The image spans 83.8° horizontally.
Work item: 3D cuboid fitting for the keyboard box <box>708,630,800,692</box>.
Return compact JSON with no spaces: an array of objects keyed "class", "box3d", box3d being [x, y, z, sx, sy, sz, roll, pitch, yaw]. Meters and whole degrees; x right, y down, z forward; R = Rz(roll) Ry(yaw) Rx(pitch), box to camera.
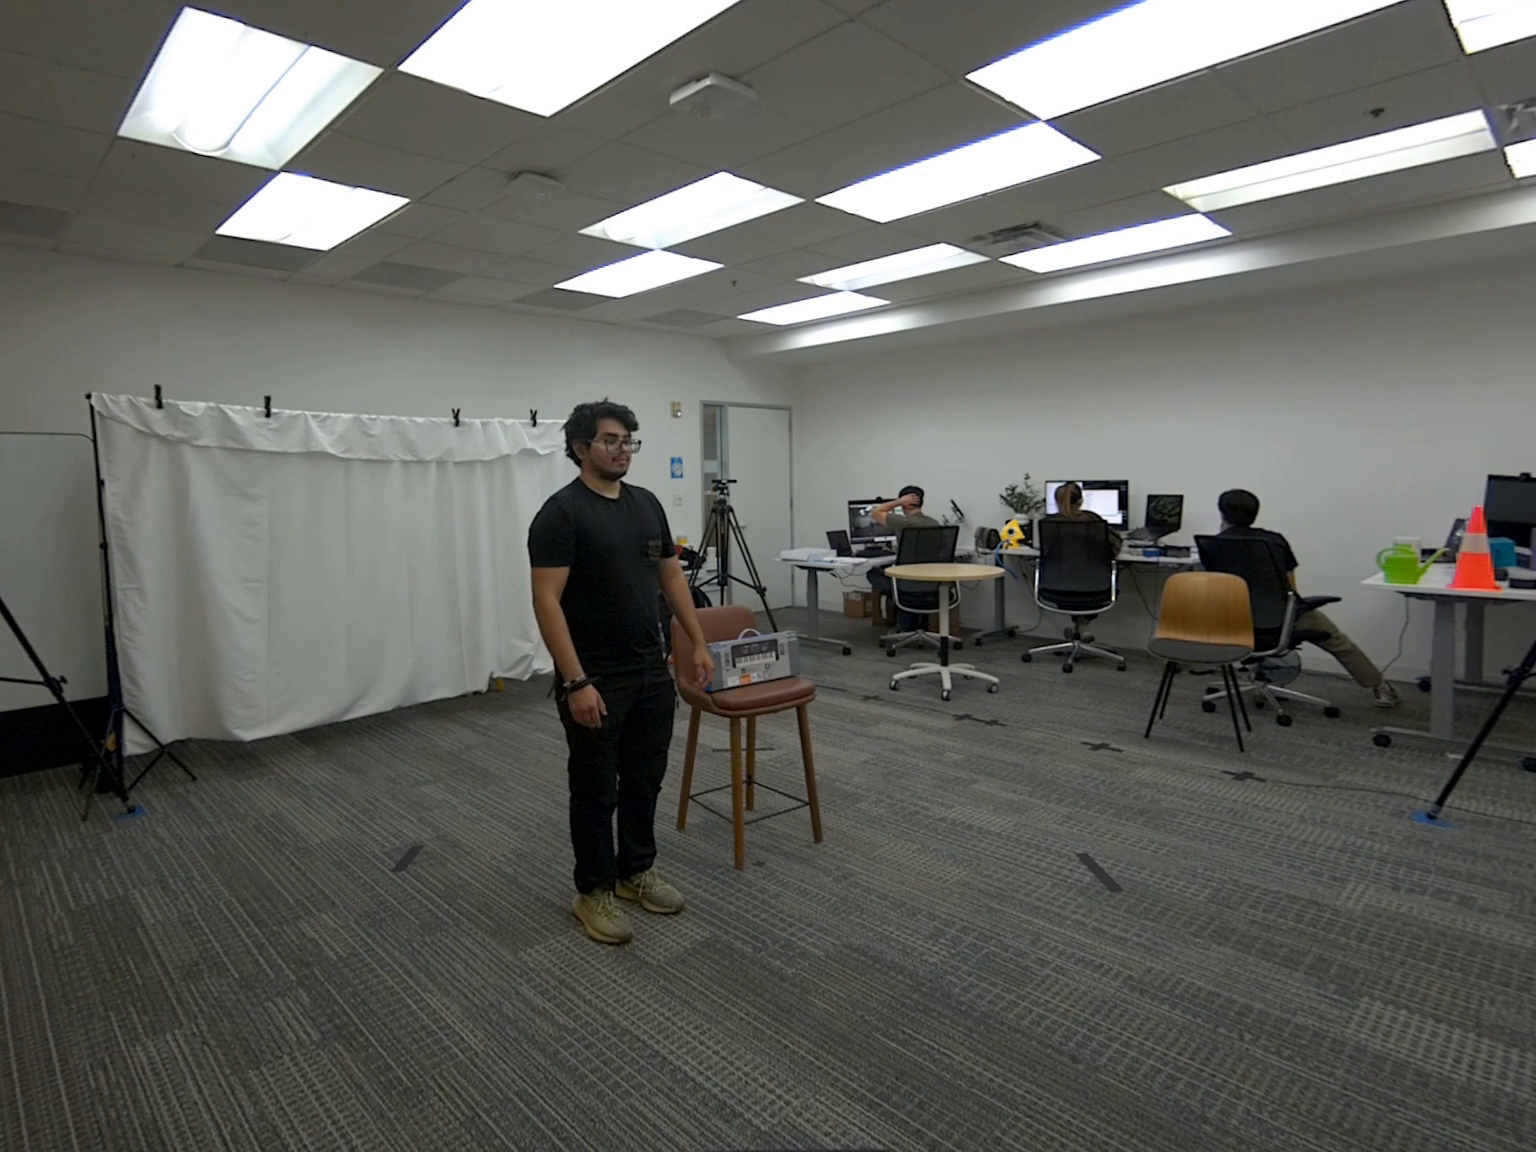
[{"class":"keyboard box","box3d":[-0.063,0.325,3.302,0.426,0.176,0.060,-6,-2,-35]}]
